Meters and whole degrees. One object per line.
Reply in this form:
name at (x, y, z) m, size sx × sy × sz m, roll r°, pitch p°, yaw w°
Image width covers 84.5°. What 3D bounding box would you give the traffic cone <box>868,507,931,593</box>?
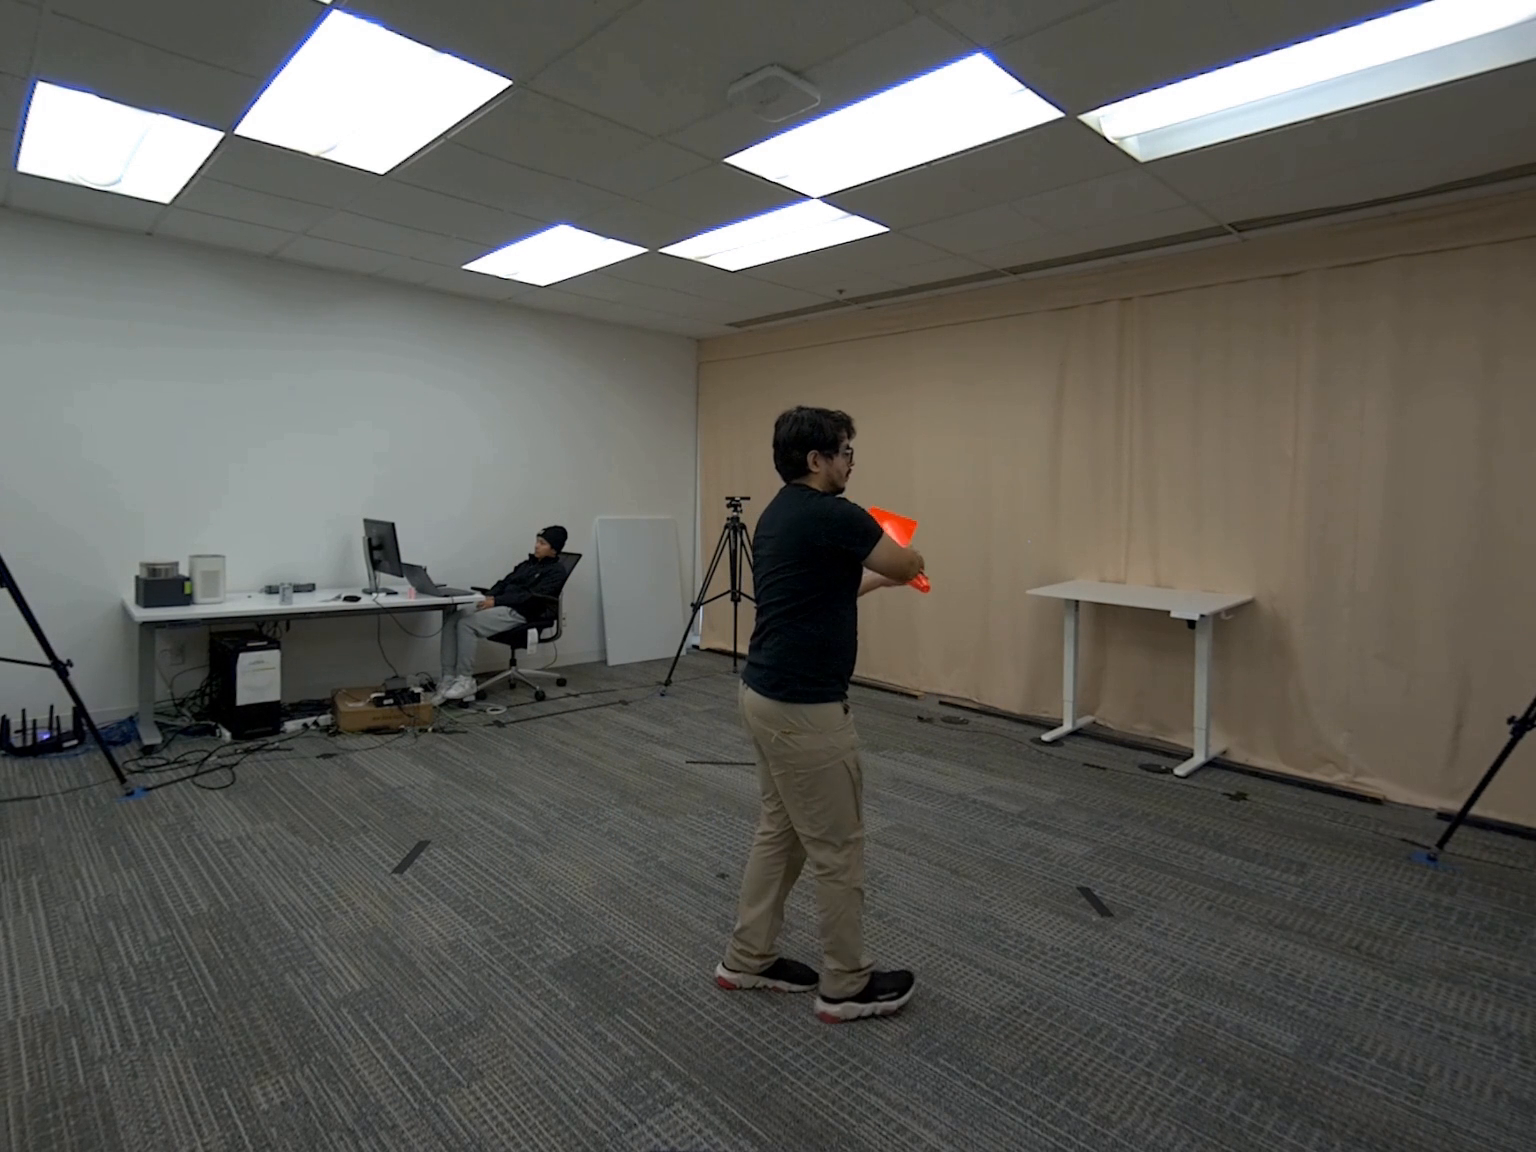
traffic cone at (0.442, -0.036, 2.716) m, size 0.201 × 0.202 × 0.393 m, roll 18°, pitch 18°, yaw -21°
